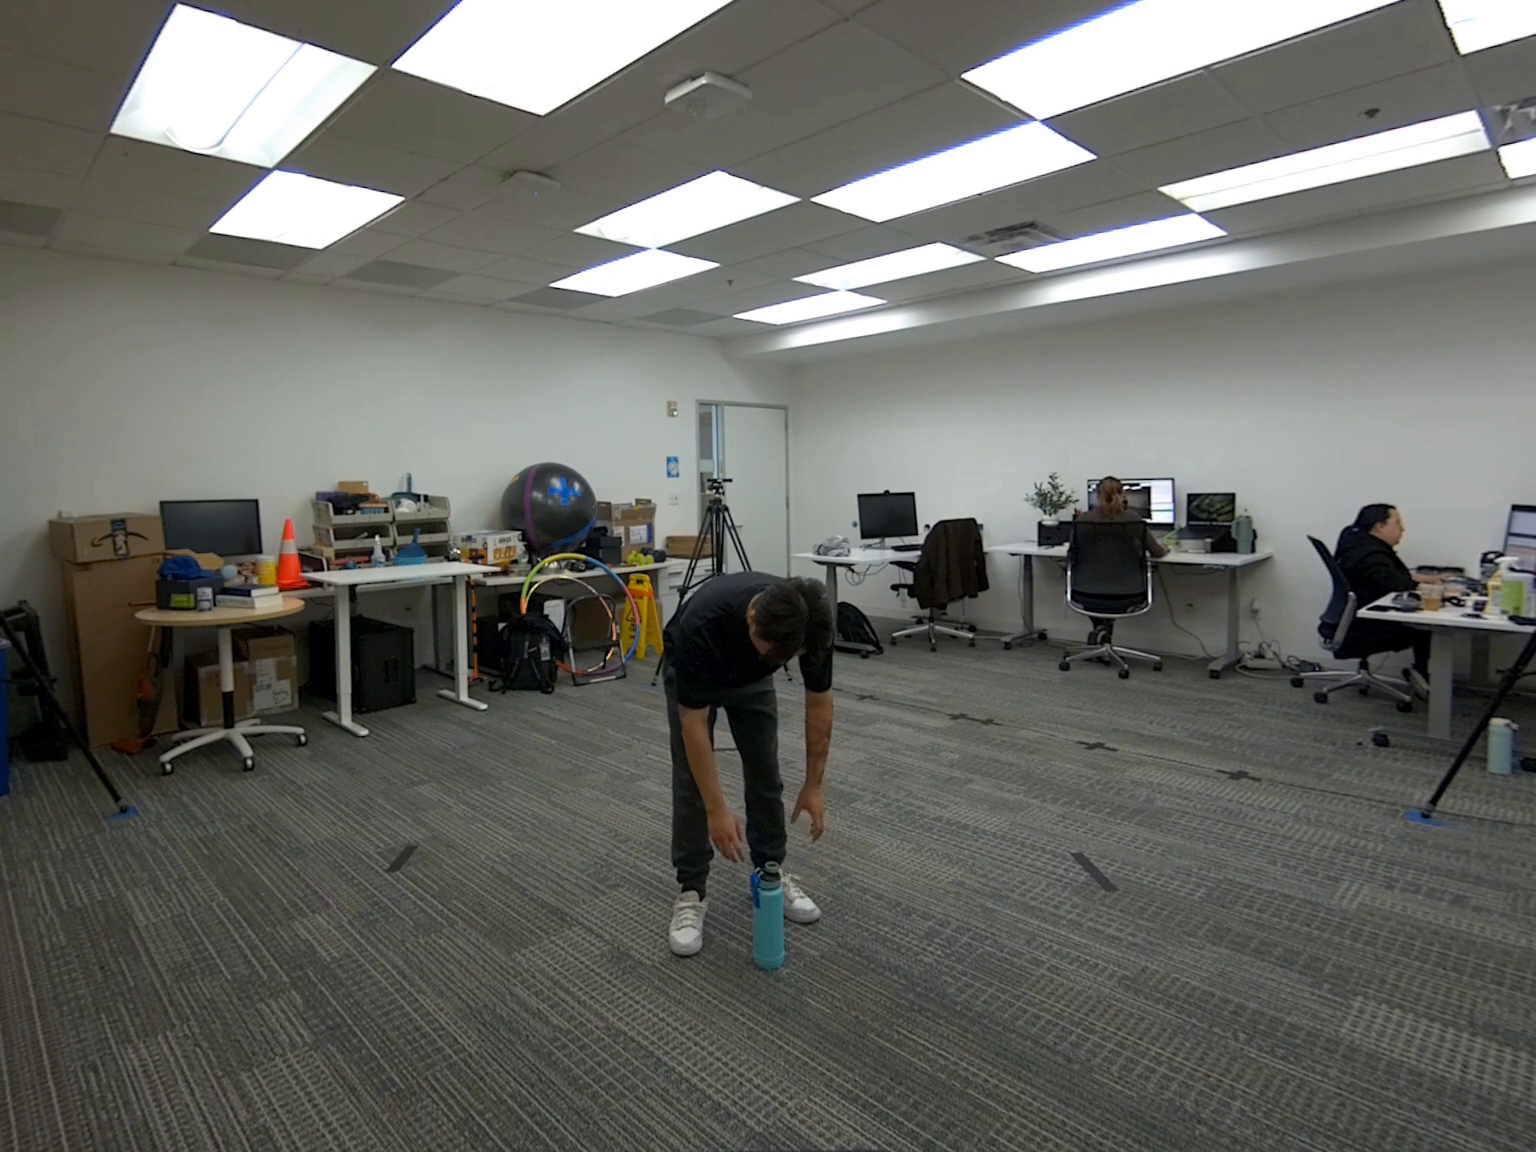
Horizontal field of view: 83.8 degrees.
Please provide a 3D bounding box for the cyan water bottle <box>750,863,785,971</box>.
[{"bbox_3d":[0.002,0.985,2.468,0.092,0.282,0.093,-3,3,-1],"label":"cyan water bottle"}]
